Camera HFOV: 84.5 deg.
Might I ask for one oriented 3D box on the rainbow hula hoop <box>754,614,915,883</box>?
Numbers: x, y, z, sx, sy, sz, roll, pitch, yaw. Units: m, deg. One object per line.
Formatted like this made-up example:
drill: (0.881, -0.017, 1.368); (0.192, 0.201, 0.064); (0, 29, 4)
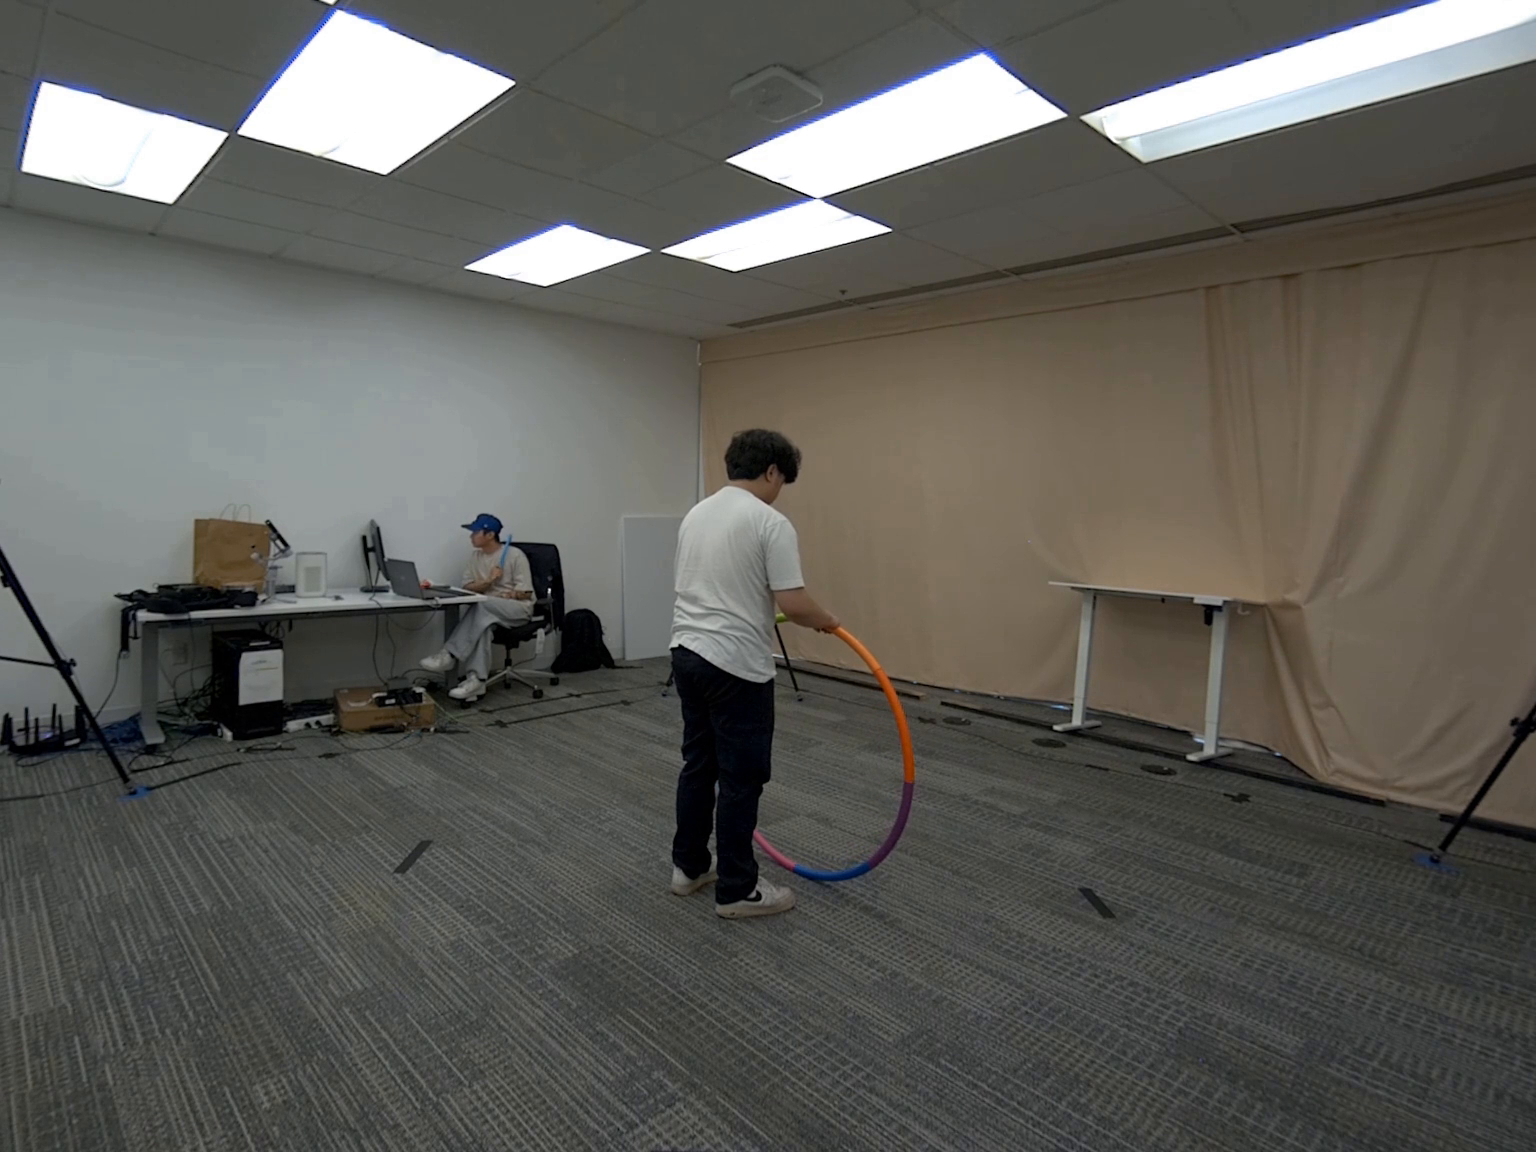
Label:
rainbow hula hoop: (0.115, 0.626, 3.115); (0.050, 0.983, 1.011); (-2, 5, -43)
